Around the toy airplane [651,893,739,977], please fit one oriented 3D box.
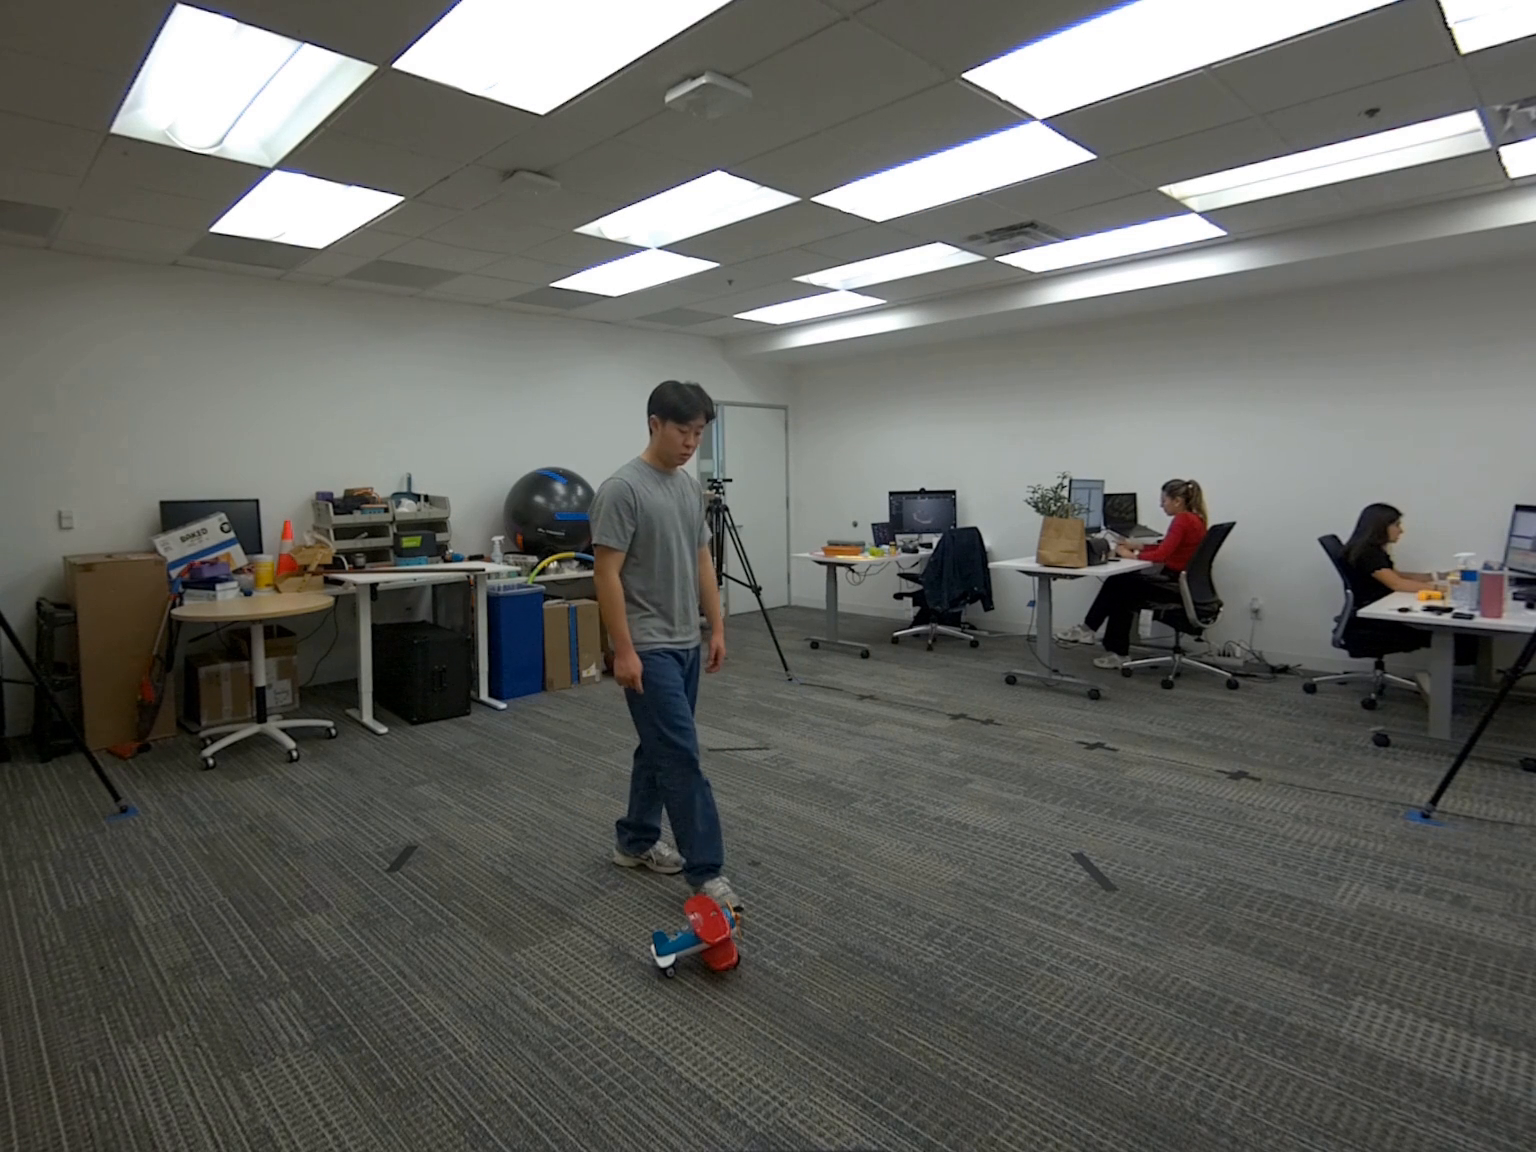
[{"bbox_3d":[-0.192,1.059,2.437,0.259,0.156,0.252,3,7,42],"label":"toy airplane"}]
